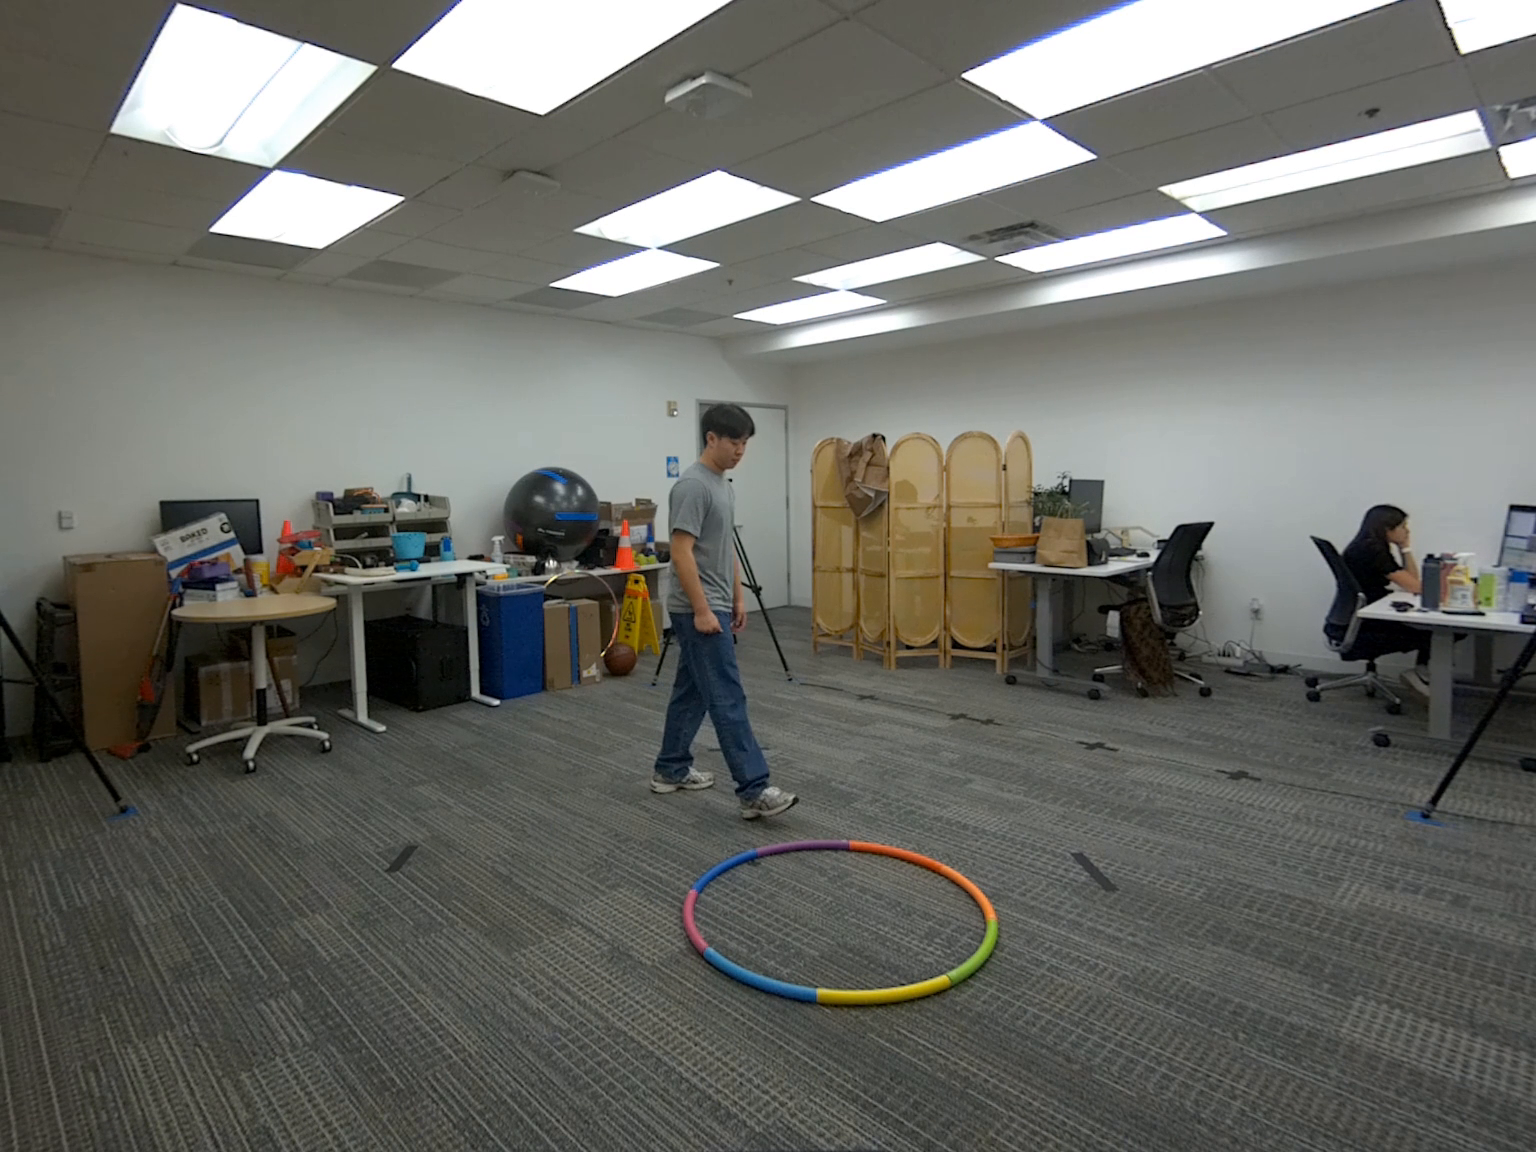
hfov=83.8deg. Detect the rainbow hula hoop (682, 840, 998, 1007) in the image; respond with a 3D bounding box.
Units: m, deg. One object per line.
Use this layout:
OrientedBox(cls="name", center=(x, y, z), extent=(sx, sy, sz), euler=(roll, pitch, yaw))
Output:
OrientedBox(cls="rainbow hula hoop", center=(0.216, 1.055, 2.741), extent=(0.978, 0.035, 0.984), euler=(-1, 7, -2))
